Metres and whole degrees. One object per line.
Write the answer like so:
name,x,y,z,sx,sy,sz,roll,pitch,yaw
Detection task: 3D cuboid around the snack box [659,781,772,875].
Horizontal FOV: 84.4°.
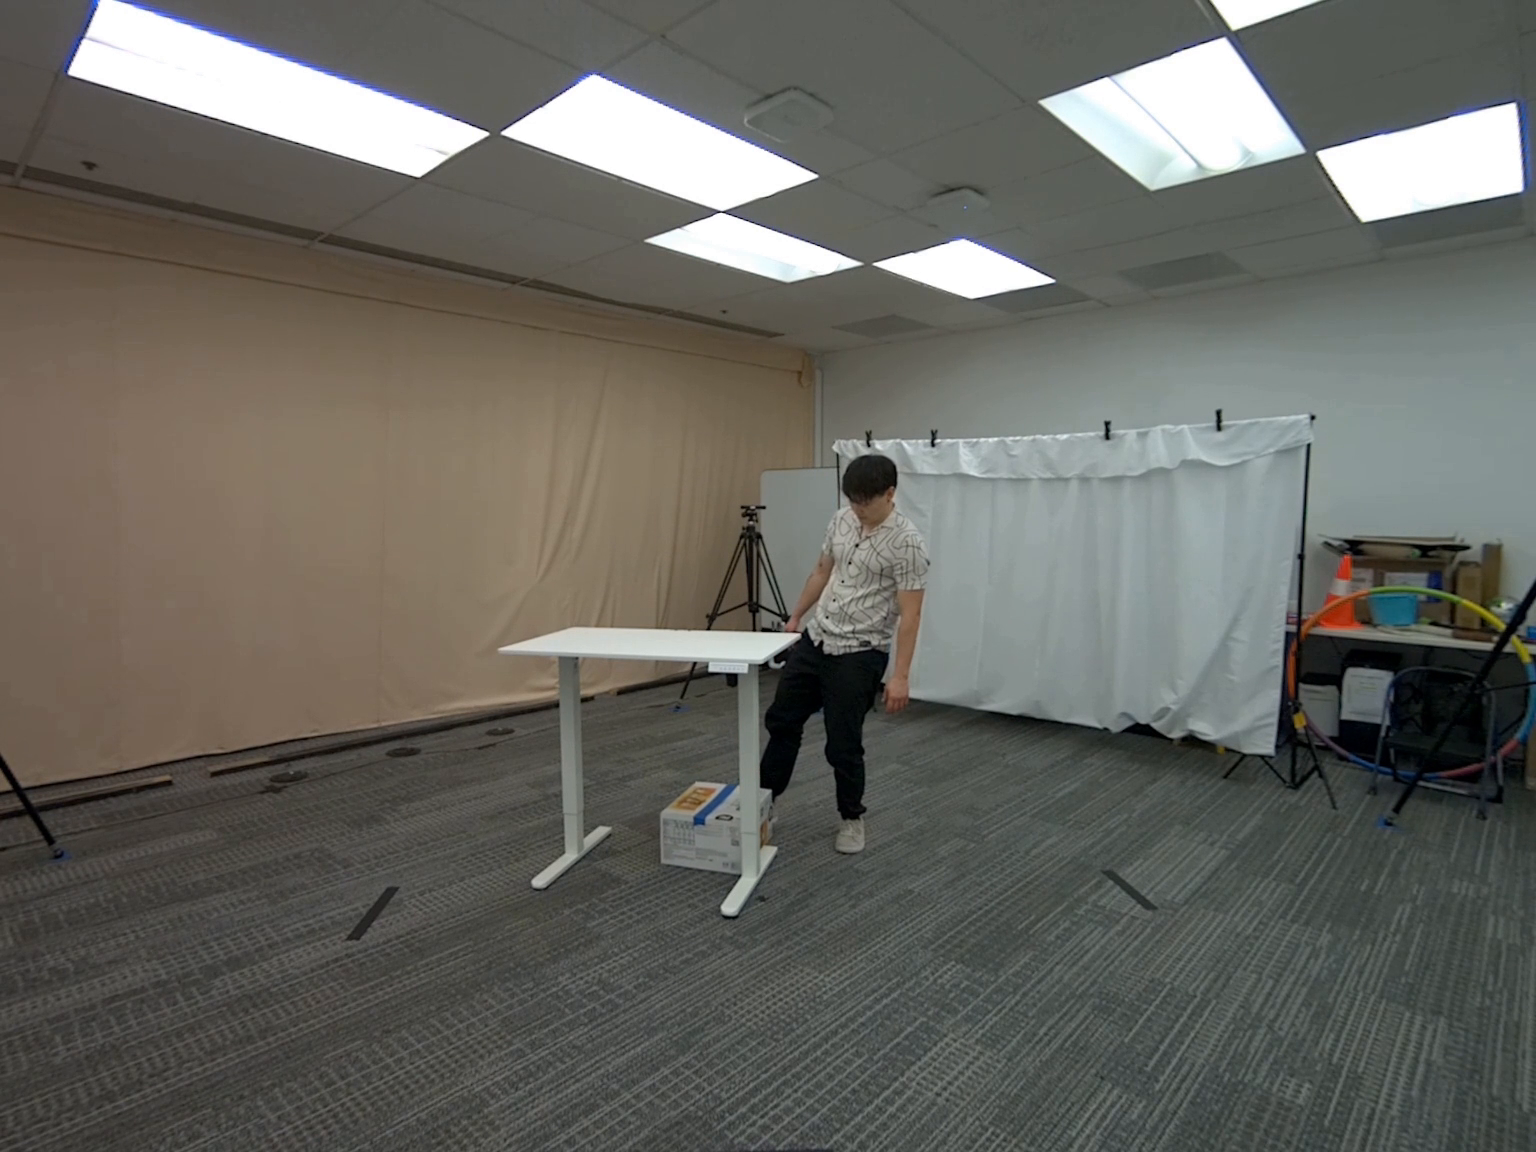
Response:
snack box,-0.199,1.008,3.400,0.347,0.205,0.398,0,4,17
